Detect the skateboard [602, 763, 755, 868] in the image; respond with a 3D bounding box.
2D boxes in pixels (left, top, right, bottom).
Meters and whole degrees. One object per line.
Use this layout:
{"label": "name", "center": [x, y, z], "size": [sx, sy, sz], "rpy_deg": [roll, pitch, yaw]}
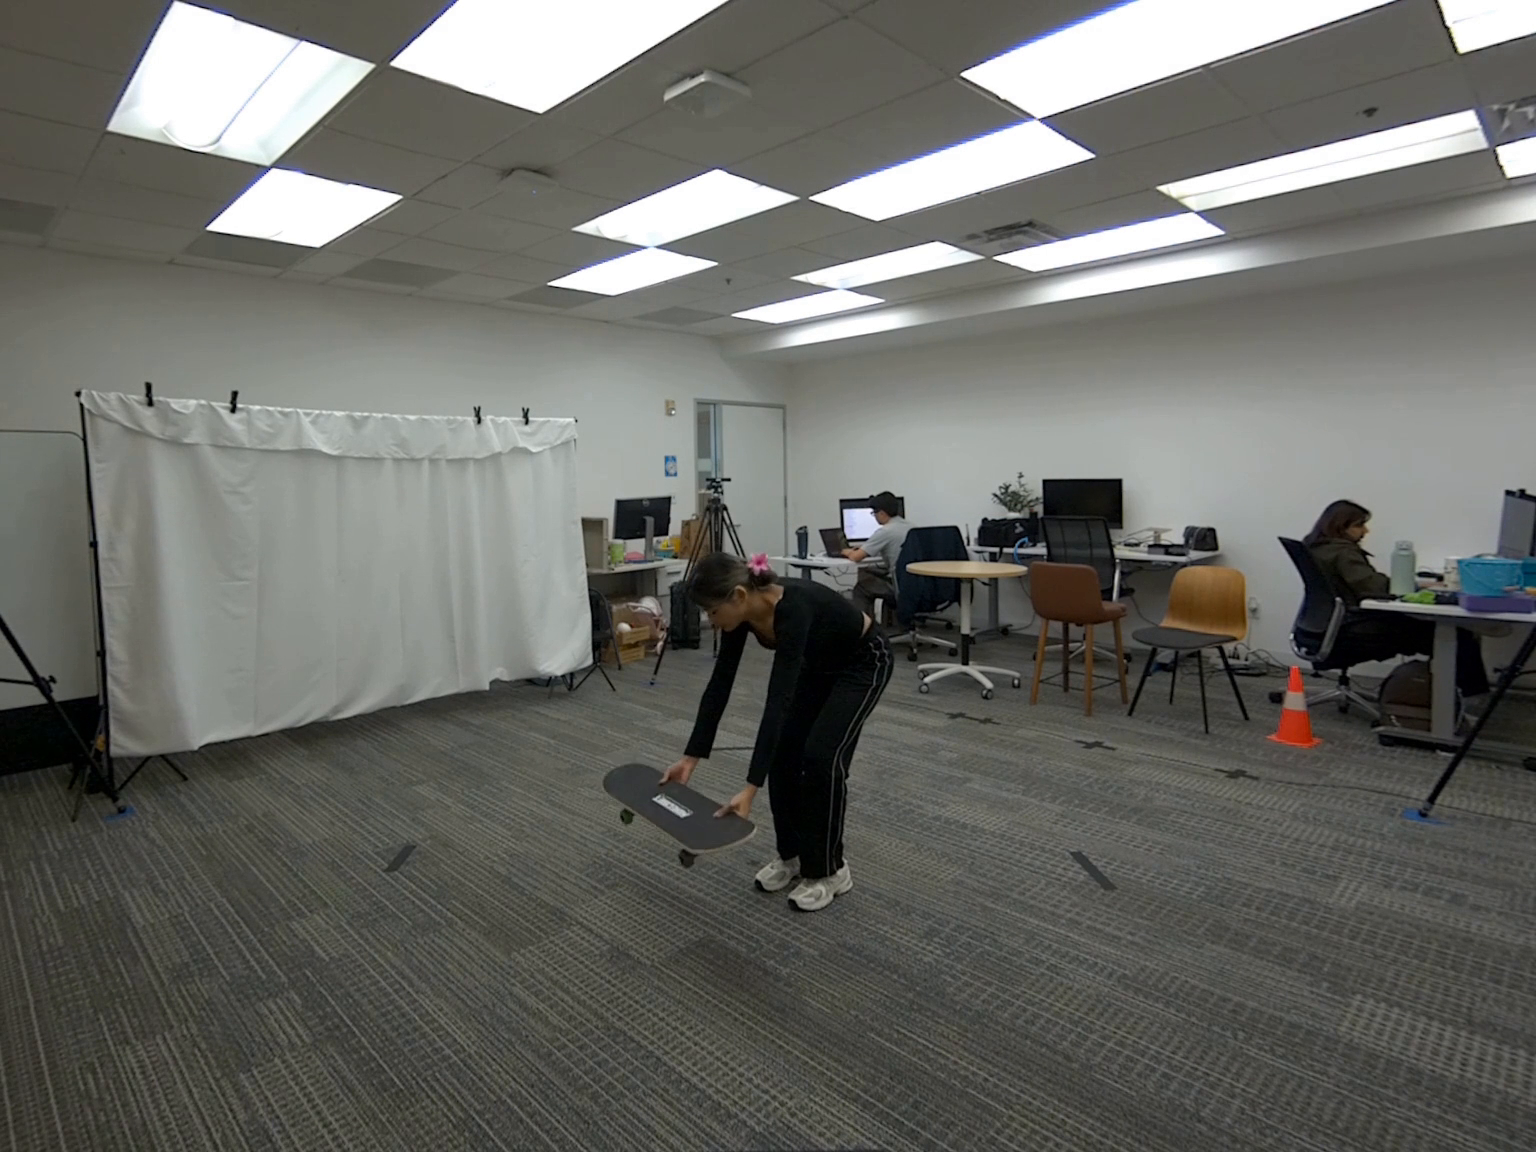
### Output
{"label": "skateboard", "center": [-0.290, 0.728, 2.567], "size": [0.190, 0.109, 0.807], "rpy_deg": [-19, 13, -31]}
